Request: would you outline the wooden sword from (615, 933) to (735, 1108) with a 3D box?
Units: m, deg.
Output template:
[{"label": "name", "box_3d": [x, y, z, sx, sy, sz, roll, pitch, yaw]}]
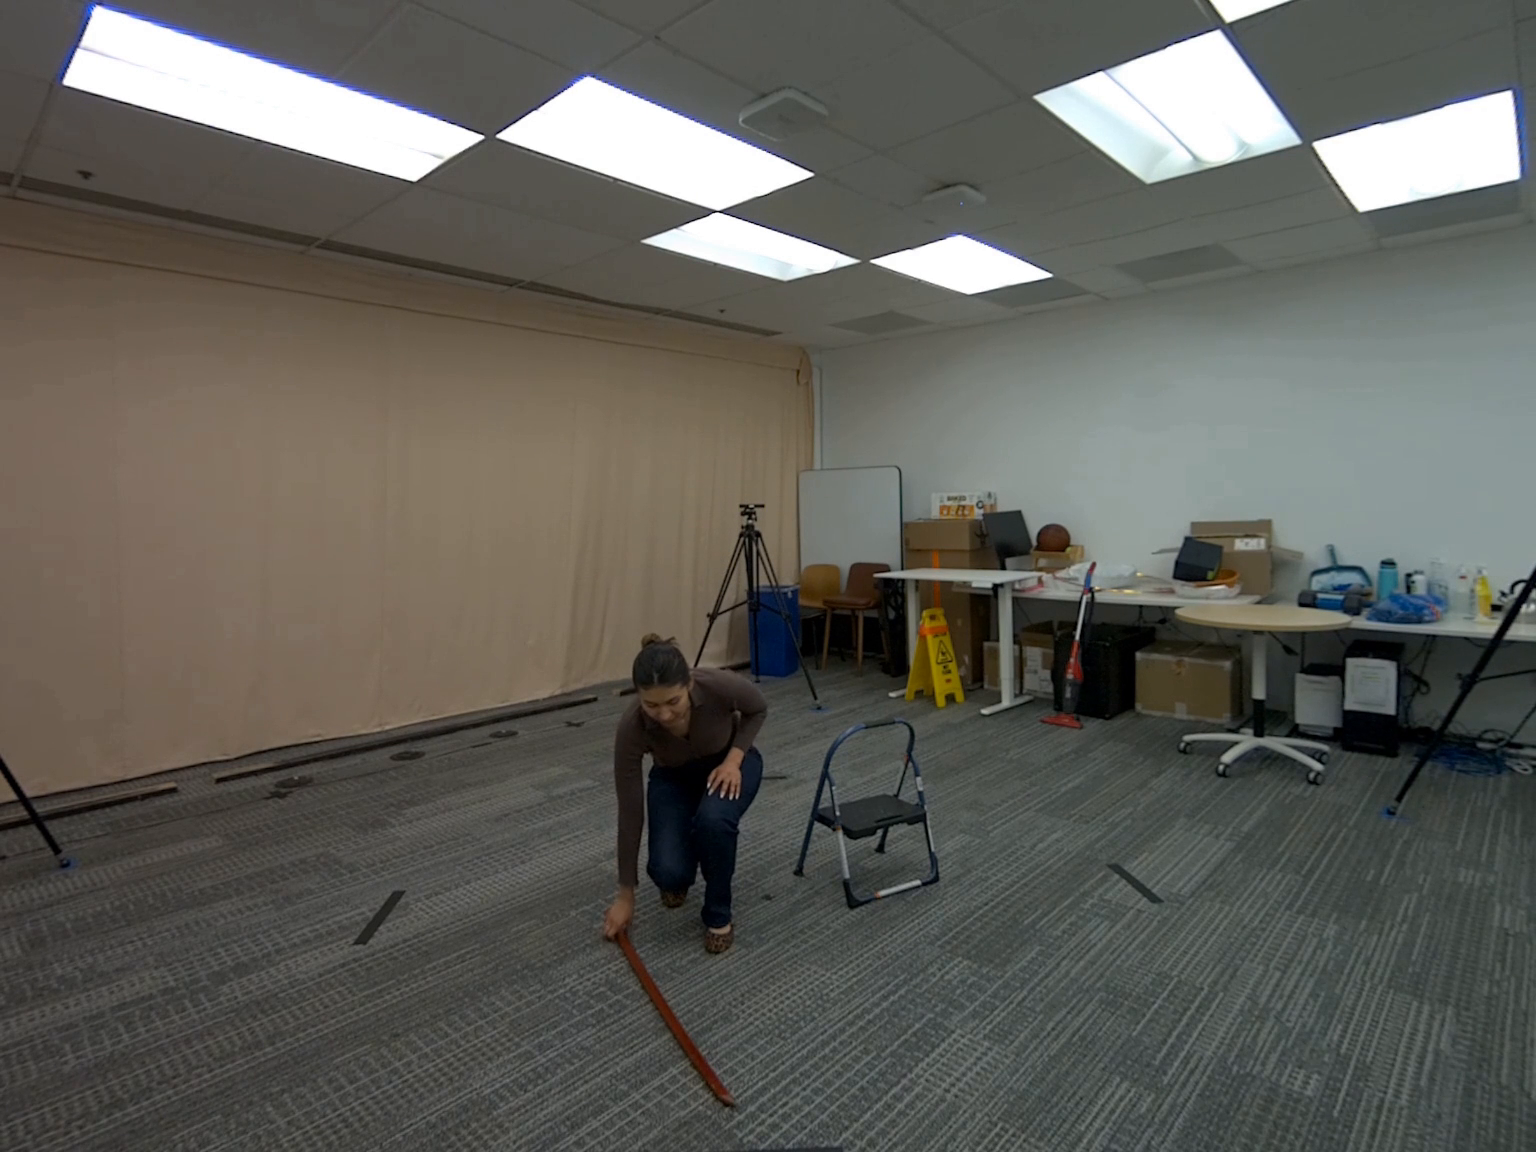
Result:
[{"label": "wooden sword", "box_3d": [-0.316, 1.170, 2.409, 0.050, 0.024, 1.051, 5, 3, -25]}]
